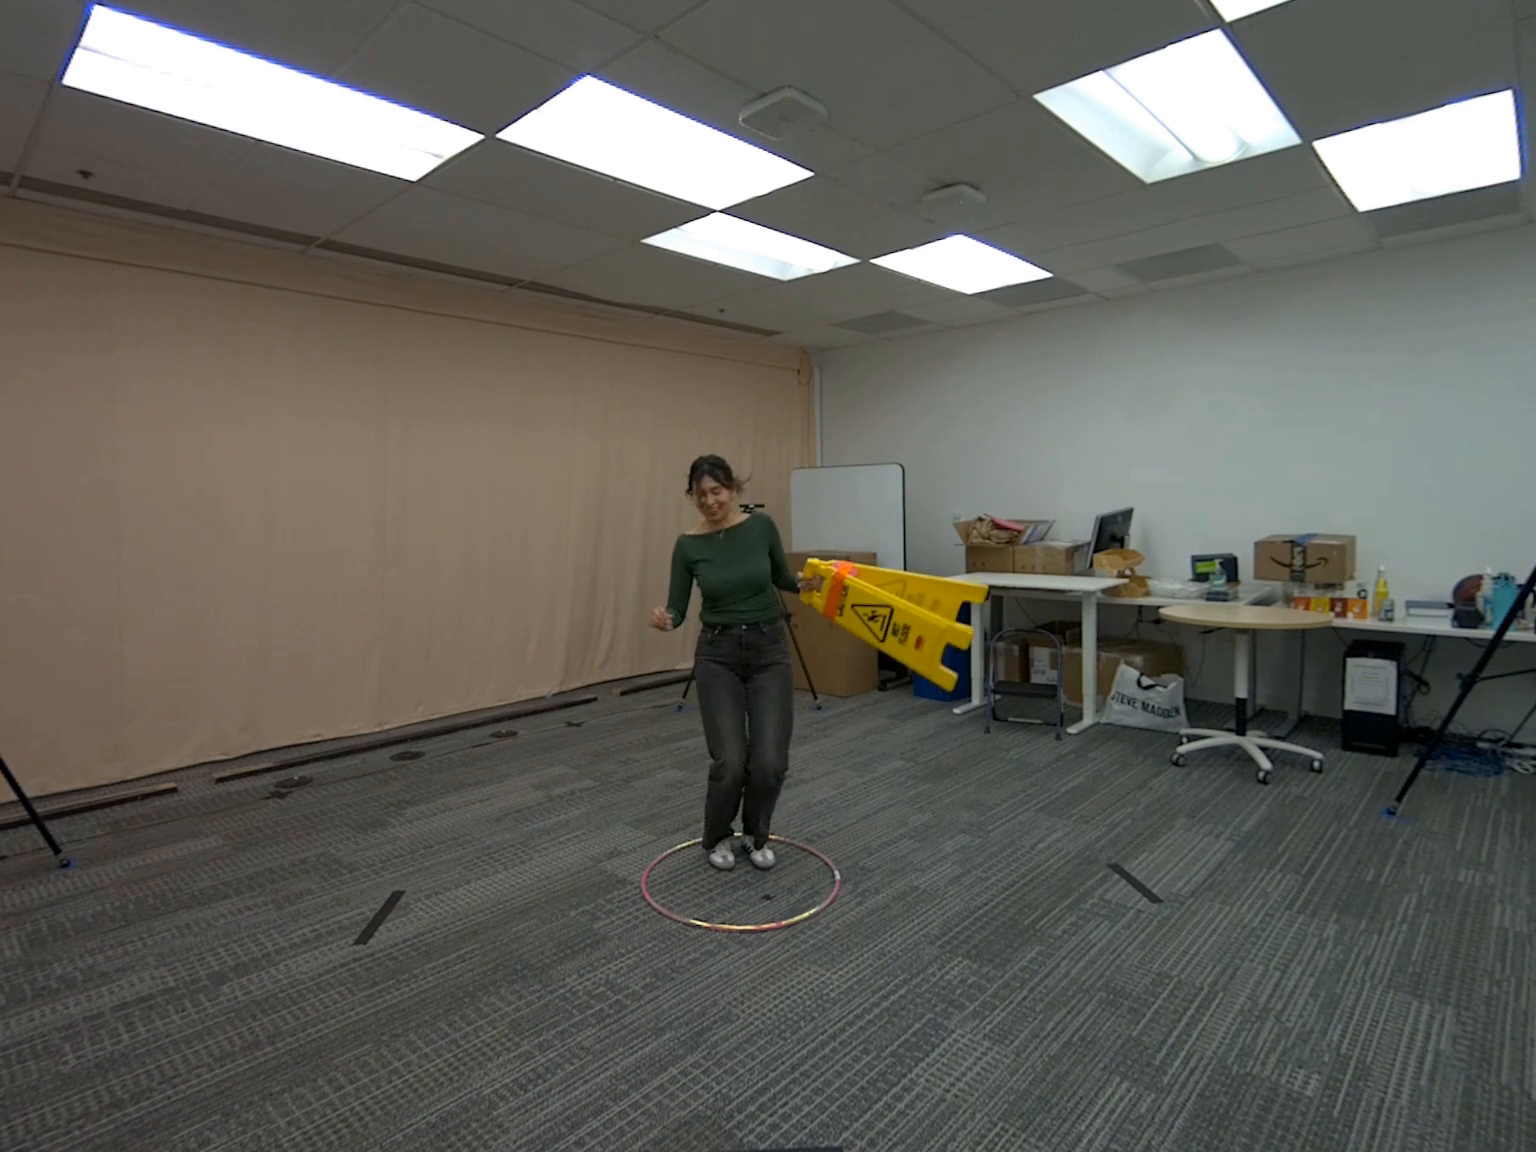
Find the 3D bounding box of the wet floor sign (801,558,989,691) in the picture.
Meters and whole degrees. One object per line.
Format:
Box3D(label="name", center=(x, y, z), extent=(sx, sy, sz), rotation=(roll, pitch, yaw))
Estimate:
Box3D(label="wet floor sign", center=(0.394, 0.128, 3.105), extent=(0.659, 0.278, 0.288), rotation=(20, 39, 16))
